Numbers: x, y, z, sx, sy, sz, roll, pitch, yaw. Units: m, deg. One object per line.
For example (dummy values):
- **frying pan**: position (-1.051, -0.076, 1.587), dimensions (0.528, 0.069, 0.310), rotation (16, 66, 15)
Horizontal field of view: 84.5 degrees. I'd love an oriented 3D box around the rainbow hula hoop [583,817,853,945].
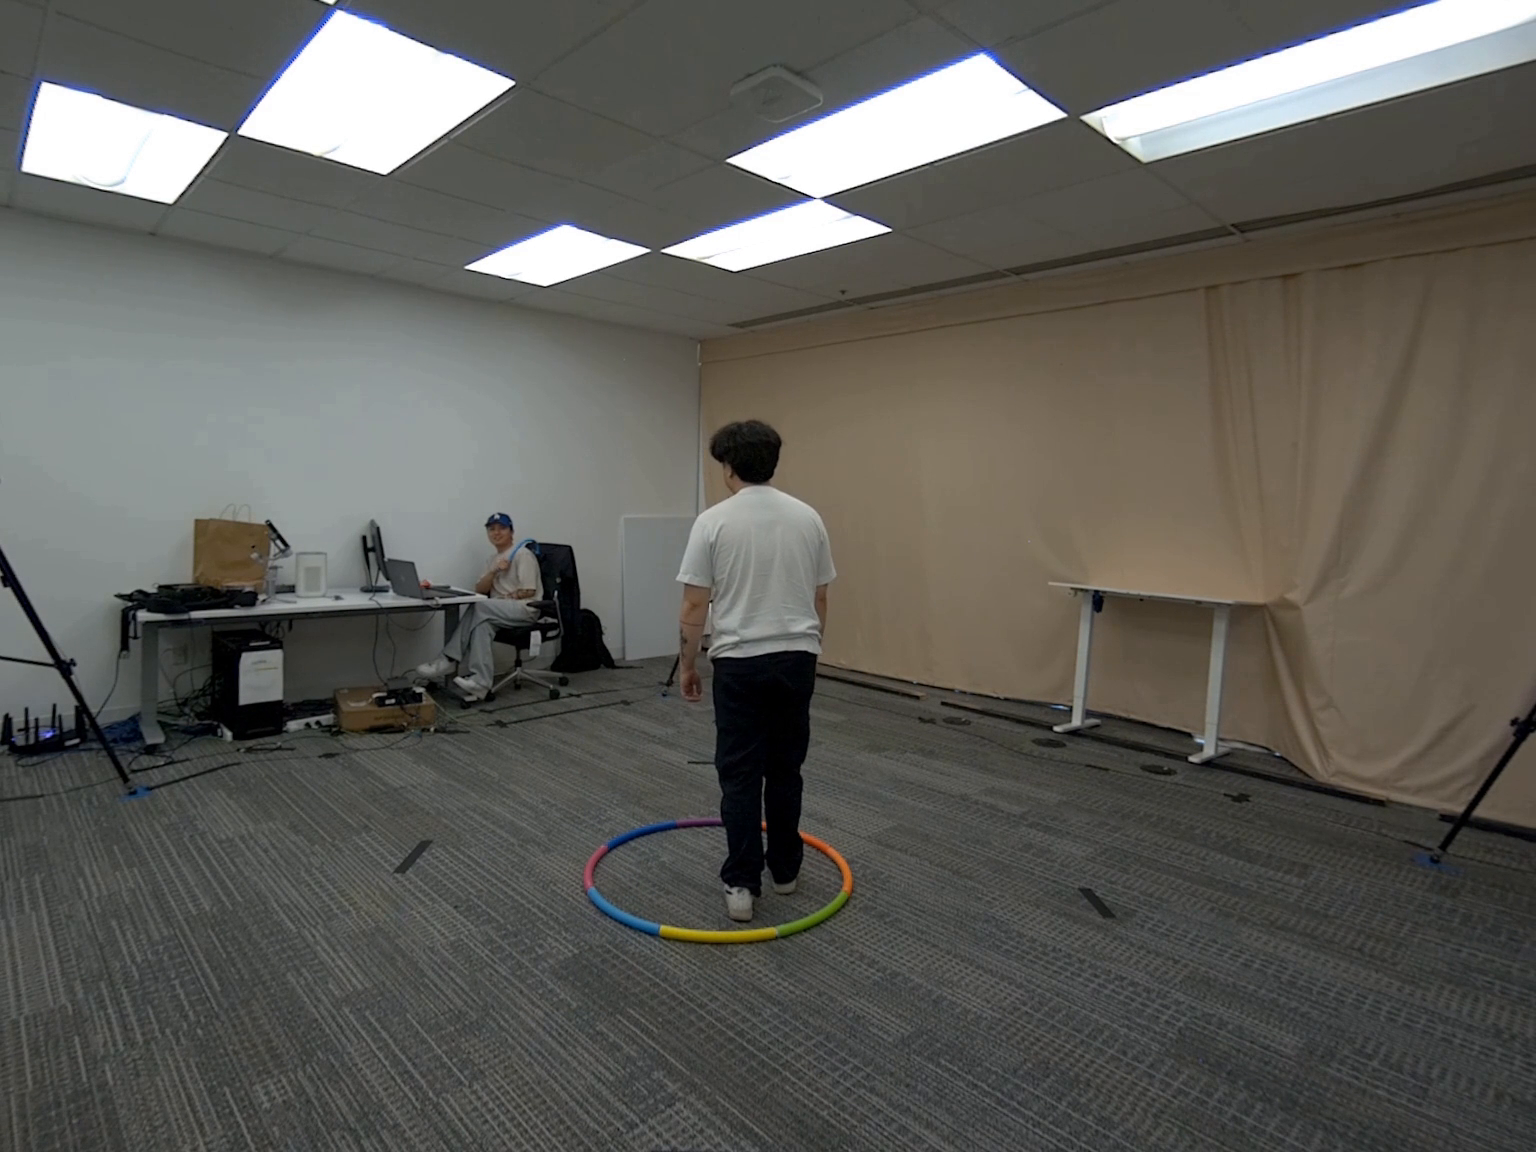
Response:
- **rainbow hula hoop**: position (-0.191, 1.083, 3.108), dimensions (0.985, 0.051, 0.989), rotation (1, 5, -1)
